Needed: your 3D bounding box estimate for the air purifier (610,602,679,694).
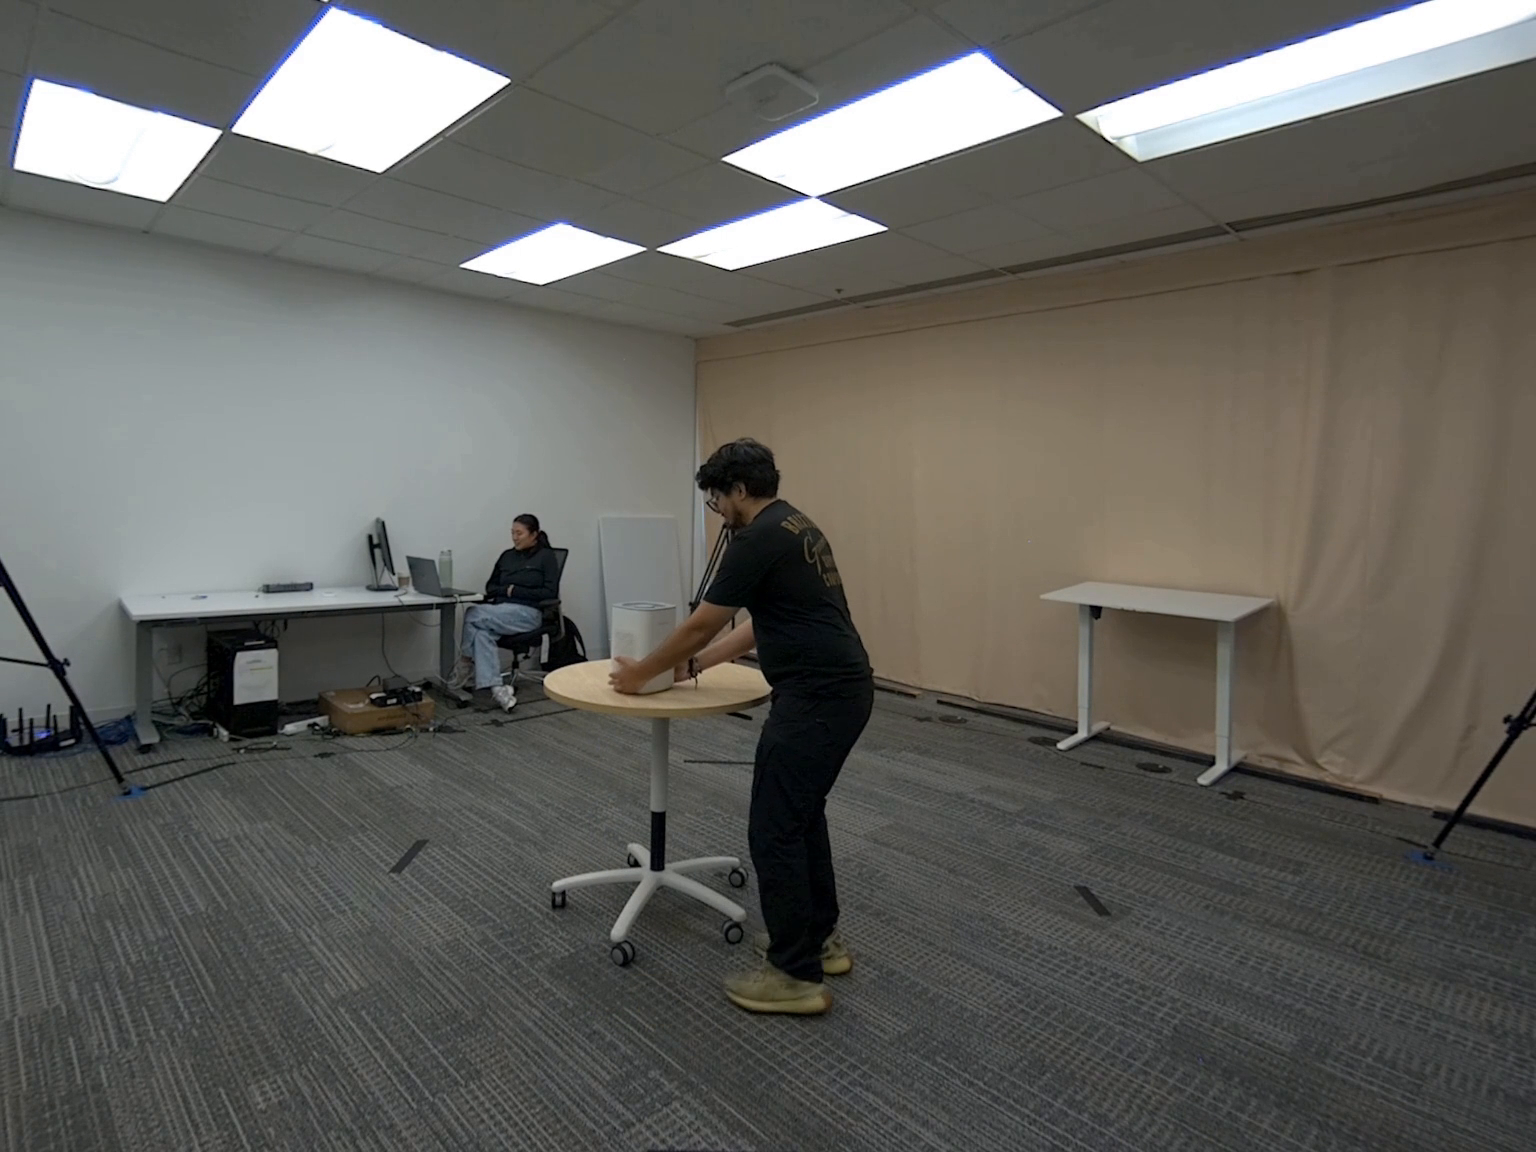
[{"bbox_3d":[-0.391,0.221,2.642,0.176,0.265,0.167,4,3,38],"label":"air purifier"}]
